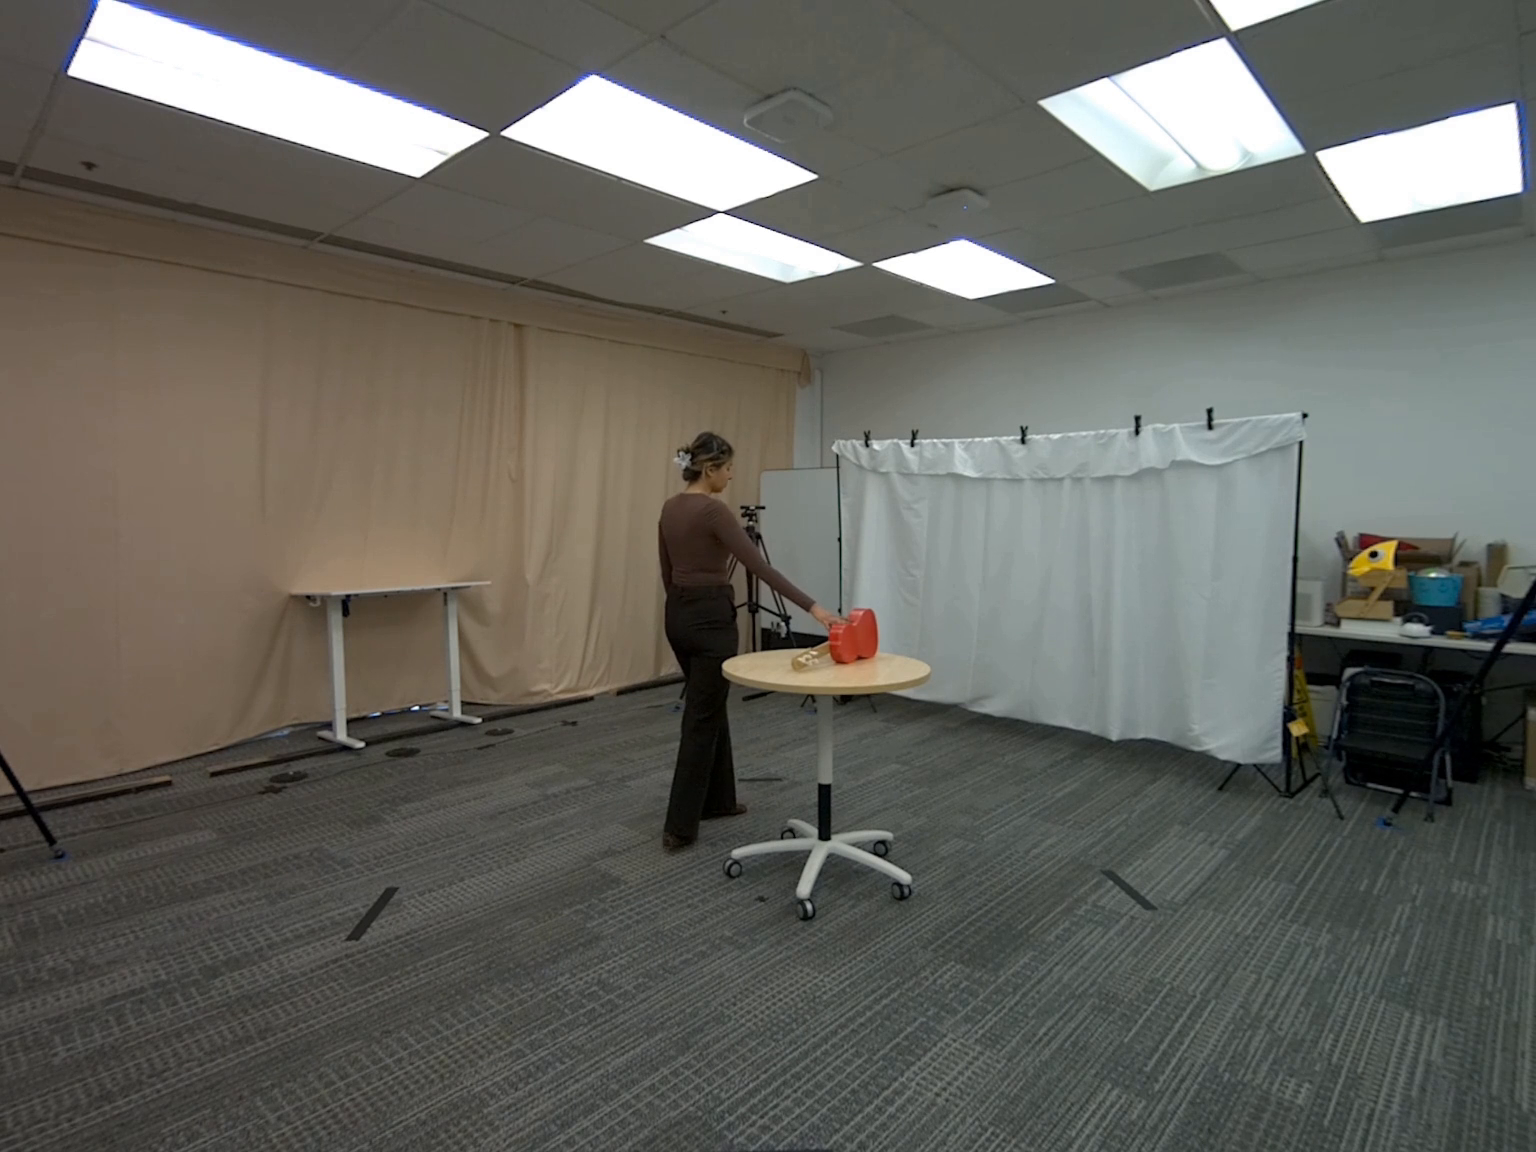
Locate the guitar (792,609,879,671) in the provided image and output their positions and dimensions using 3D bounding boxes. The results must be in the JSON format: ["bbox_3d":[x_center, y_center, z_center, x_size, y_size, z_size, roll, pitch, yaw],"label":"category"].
[{"bbox_3d":[0.266,0.289,3.168,0.073,0.190,0.488,1,21,40],"label":"guitar"}]
